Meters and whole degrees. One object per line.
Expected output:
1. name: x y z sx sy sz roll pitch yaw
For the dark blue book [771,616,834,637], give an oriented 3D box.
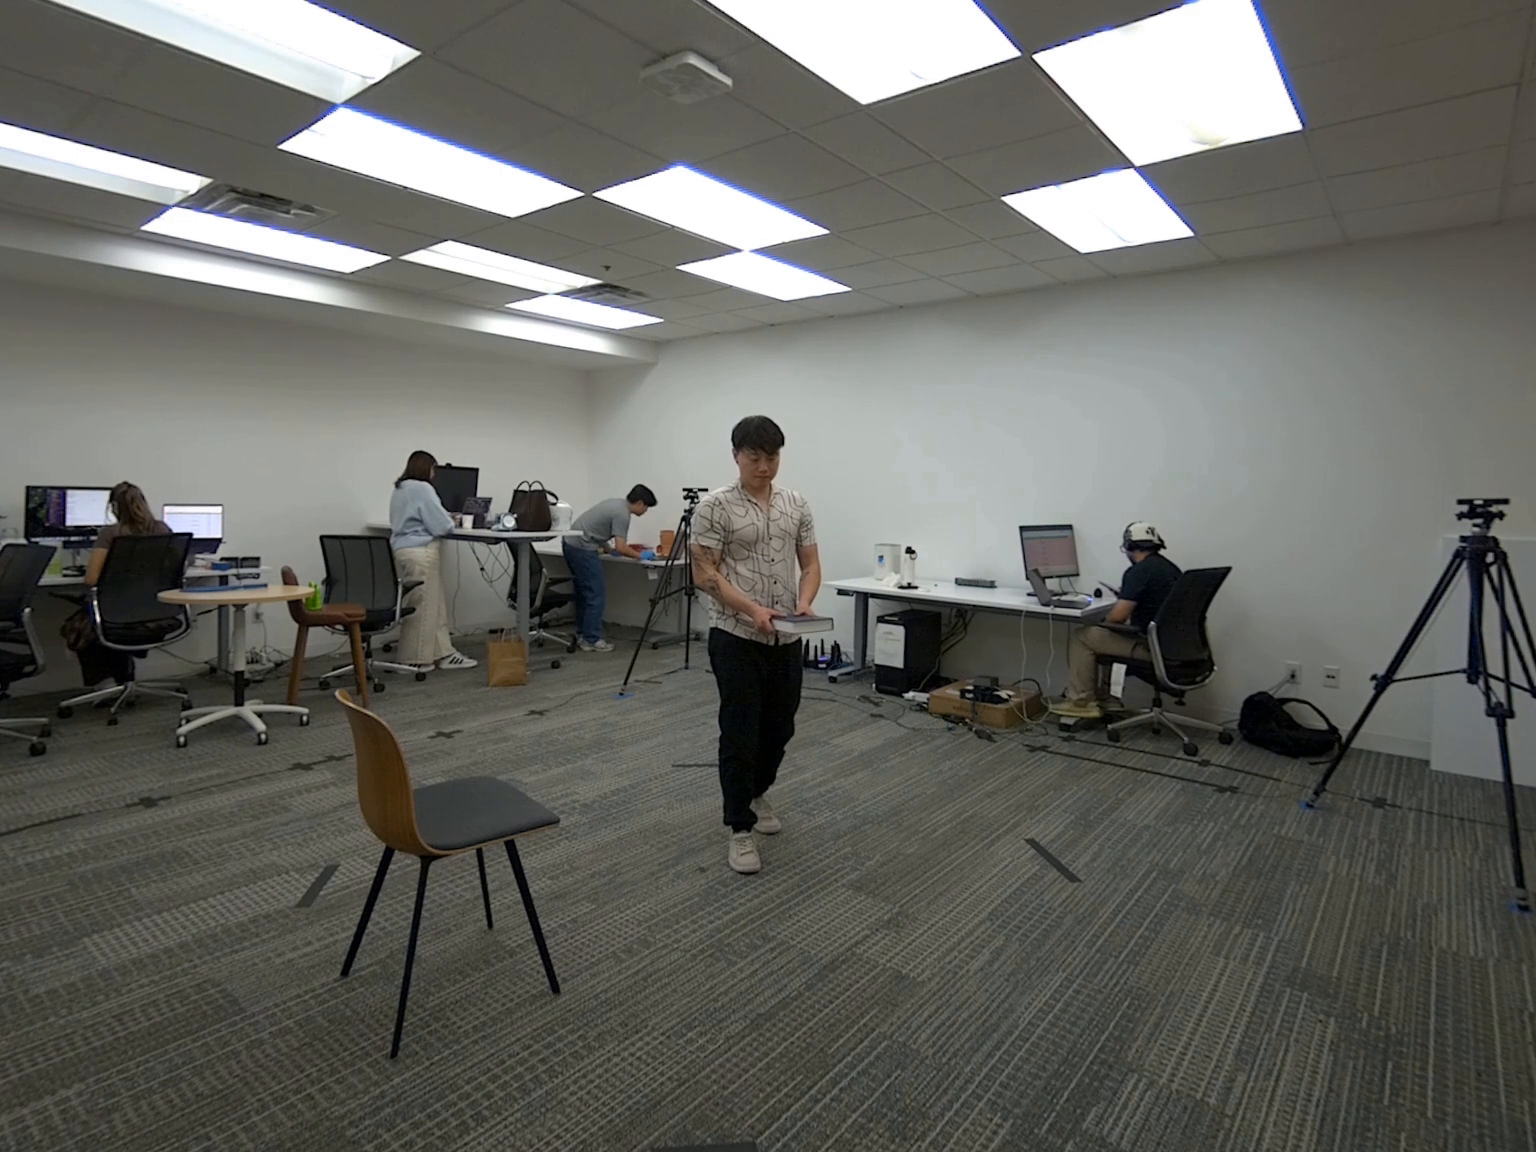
1. dark blue book: 0.109 0.168 3.036 0.161 0.045 0.249 -4 2 -16
